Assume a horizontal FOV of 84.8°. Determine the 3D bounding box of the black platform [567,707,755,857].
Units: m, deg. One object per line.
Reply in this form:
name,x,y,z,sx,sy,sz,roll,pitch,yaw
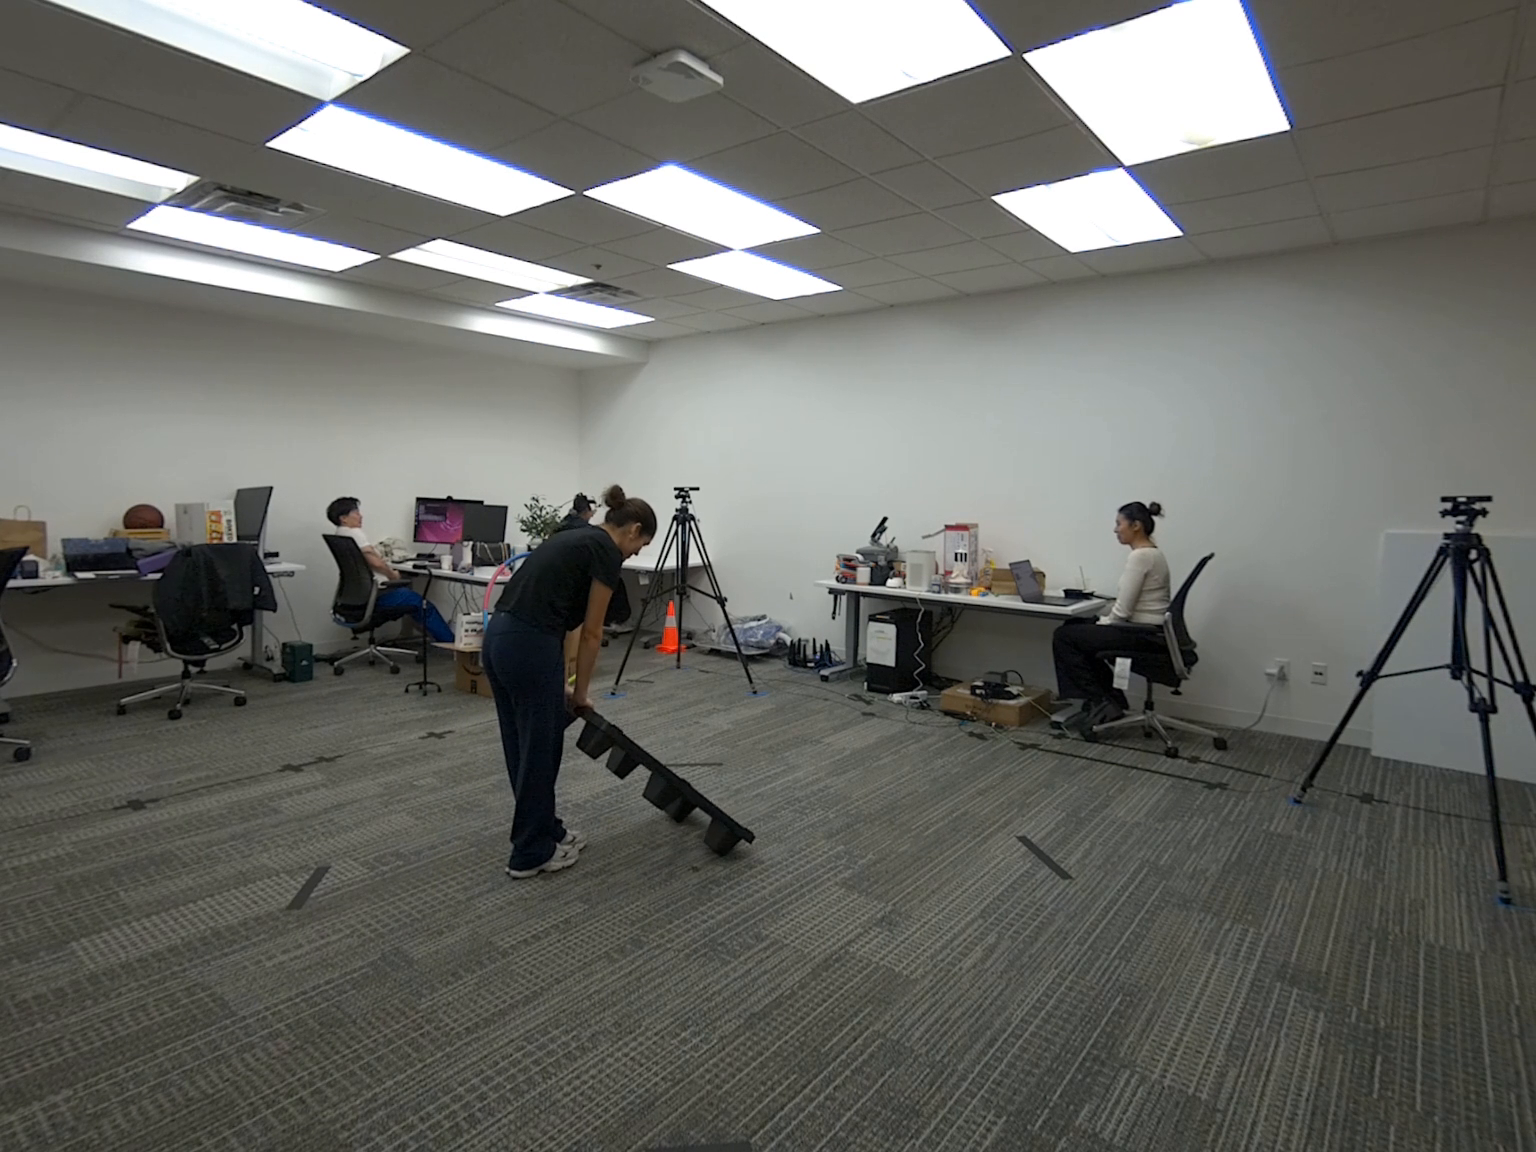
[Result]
black platform,-0.465,0.763,3.297,0.781,0.143,0.623,45,-17,-24
